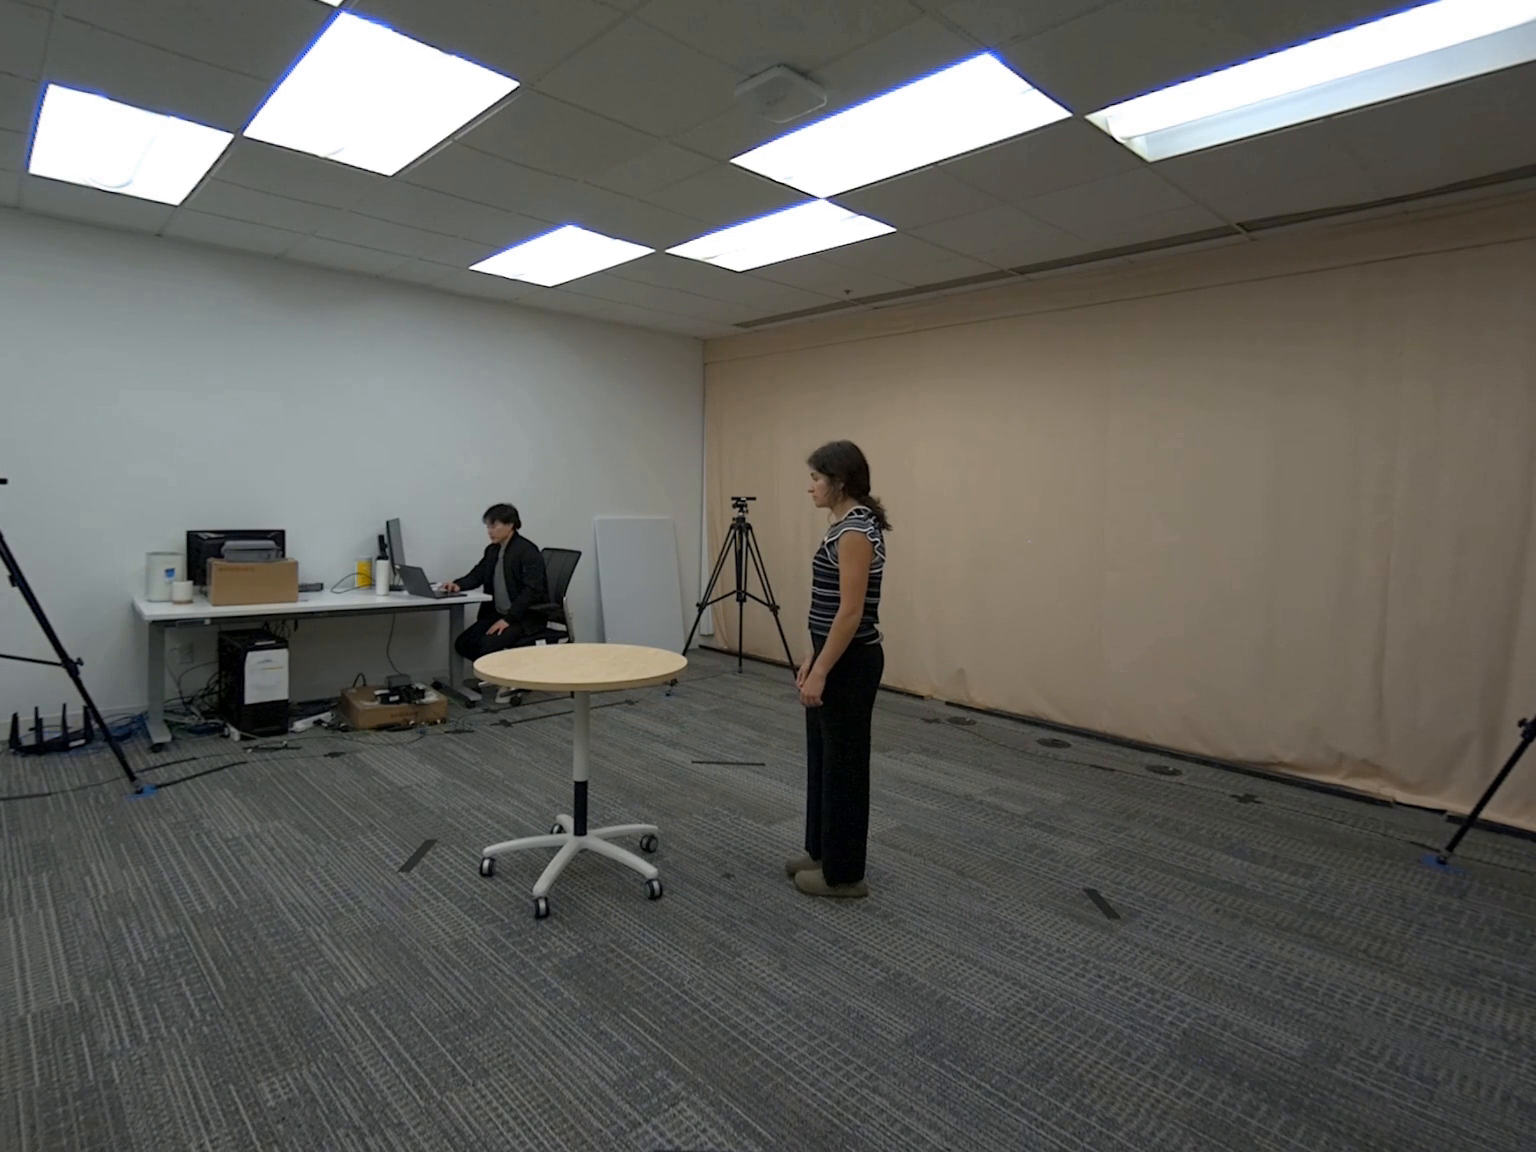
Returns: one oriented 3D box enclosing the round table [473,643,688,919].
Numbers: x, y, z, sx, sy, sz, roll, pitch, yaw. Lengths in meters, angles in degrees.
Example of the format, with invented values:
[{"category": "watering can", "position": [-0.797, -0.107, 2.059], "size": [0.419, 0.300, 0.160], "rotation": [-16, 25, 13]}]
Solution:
[{"category": "round table", "position": [-0.675, 0.698, 3.094], "size": [0.784, 0.784, 0.788], "rotation": [1, 4, -1]}]
